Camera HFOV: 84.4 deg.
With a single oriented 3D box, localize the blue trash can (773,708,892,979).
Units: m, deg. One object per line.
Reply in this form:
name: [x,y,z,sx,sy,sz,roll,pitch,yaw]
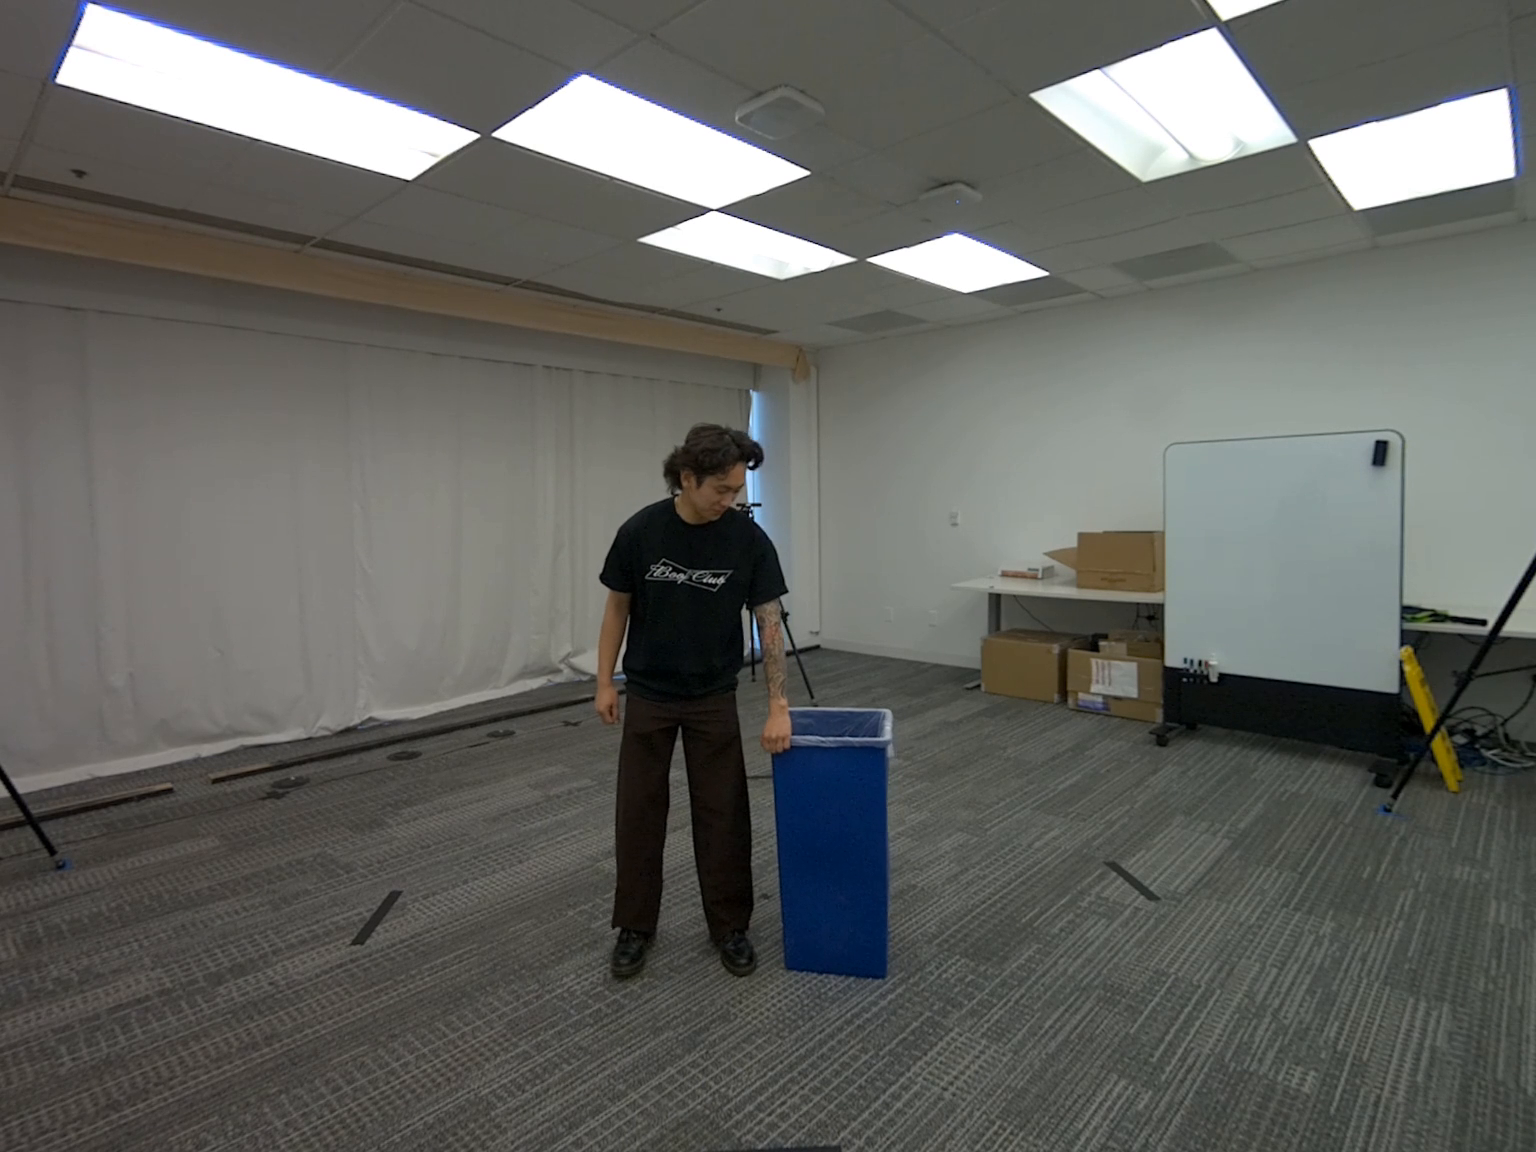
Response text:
blue trash can: [0.207,0.805,2.599,0.379,0.712,0.374,-1,3,10]
